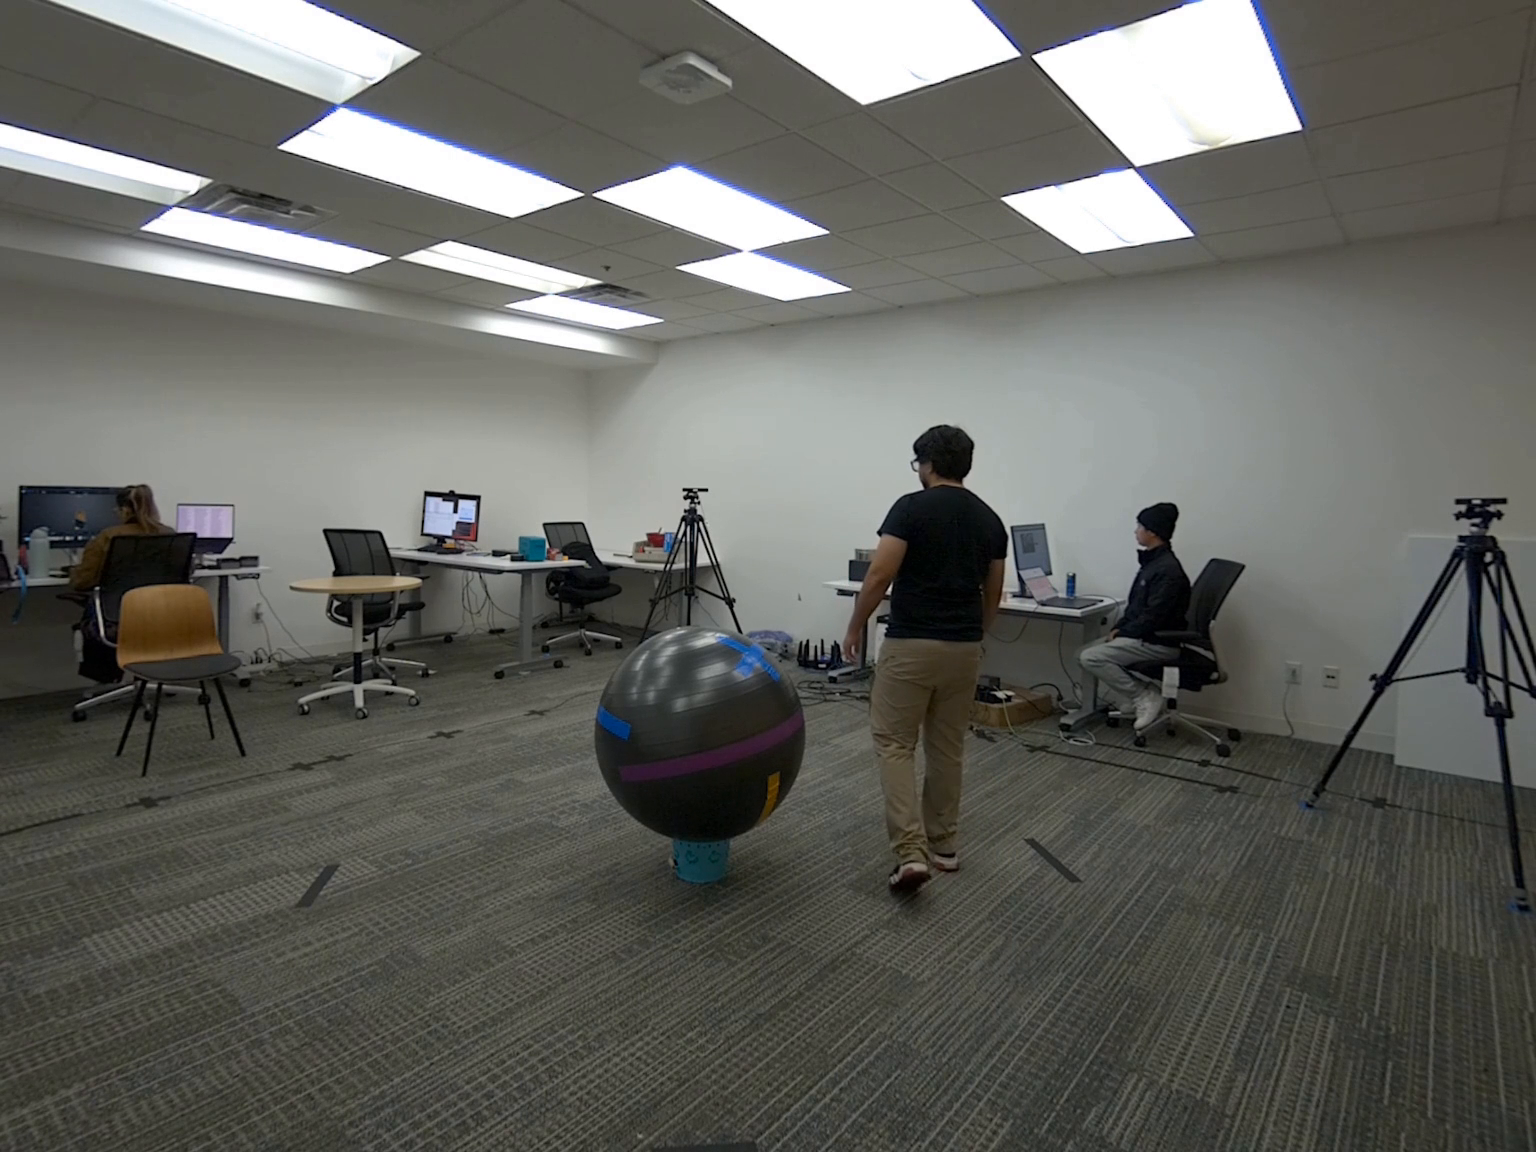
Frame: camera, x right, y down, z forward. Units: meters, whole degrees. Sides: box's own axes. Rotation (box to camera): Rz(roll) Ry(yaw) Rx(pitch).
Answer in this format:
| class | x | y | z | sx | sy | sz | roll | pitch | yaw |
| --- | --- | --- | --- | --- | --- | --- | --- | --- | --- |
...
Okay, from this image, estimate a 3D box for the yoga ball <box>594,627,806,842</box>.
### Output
| class | x | y | z | sx | sy | sz | roll | pitch | yaw |
| --- | --- | --- | --- | --- | --- | --- | --- | --- | --- |
| yoga ball | -0.260 | 0.561 | 3.072 | 0.757 | 0.756 | 0.762 | 1 | 4 | -2 |
